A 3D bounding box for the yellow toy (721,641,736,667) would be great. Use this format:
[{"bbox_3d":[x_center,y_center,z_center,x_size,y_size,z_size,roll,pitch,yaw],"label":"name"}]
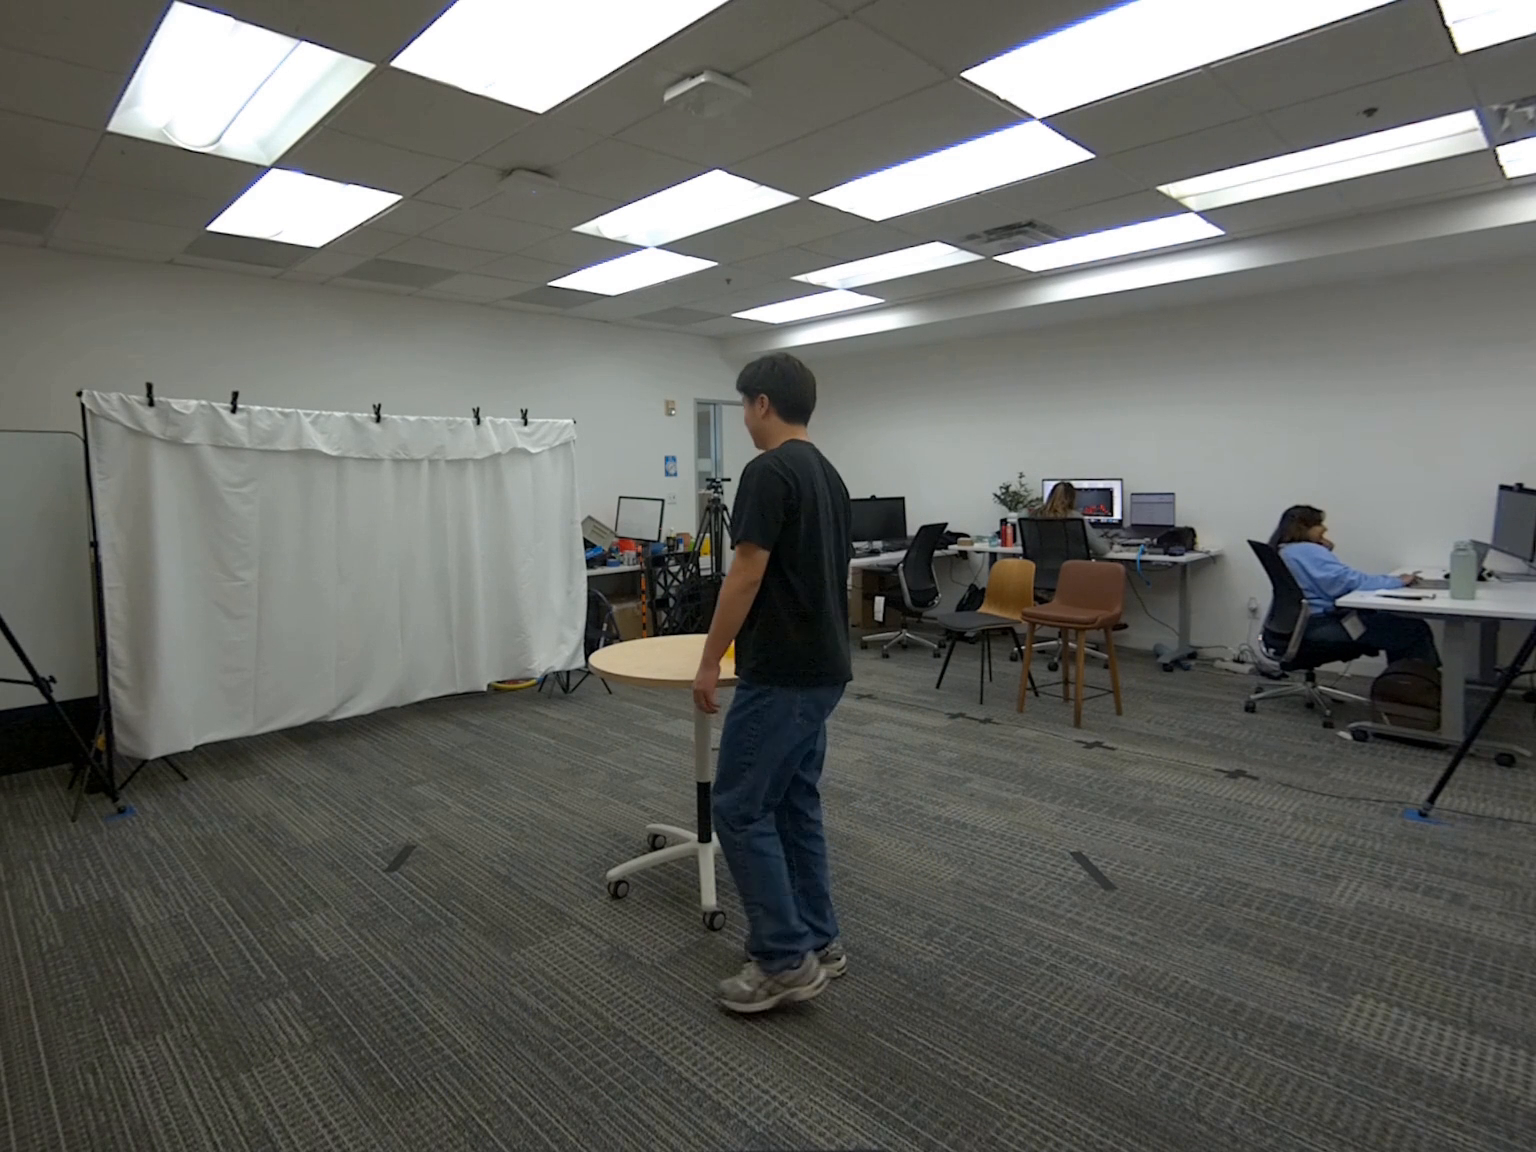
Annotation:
[{"bbox_3d":[-0.051,0.150,2.930,0.199,0.230,0.199,2,5,38],"label":"yellow toy"}]
